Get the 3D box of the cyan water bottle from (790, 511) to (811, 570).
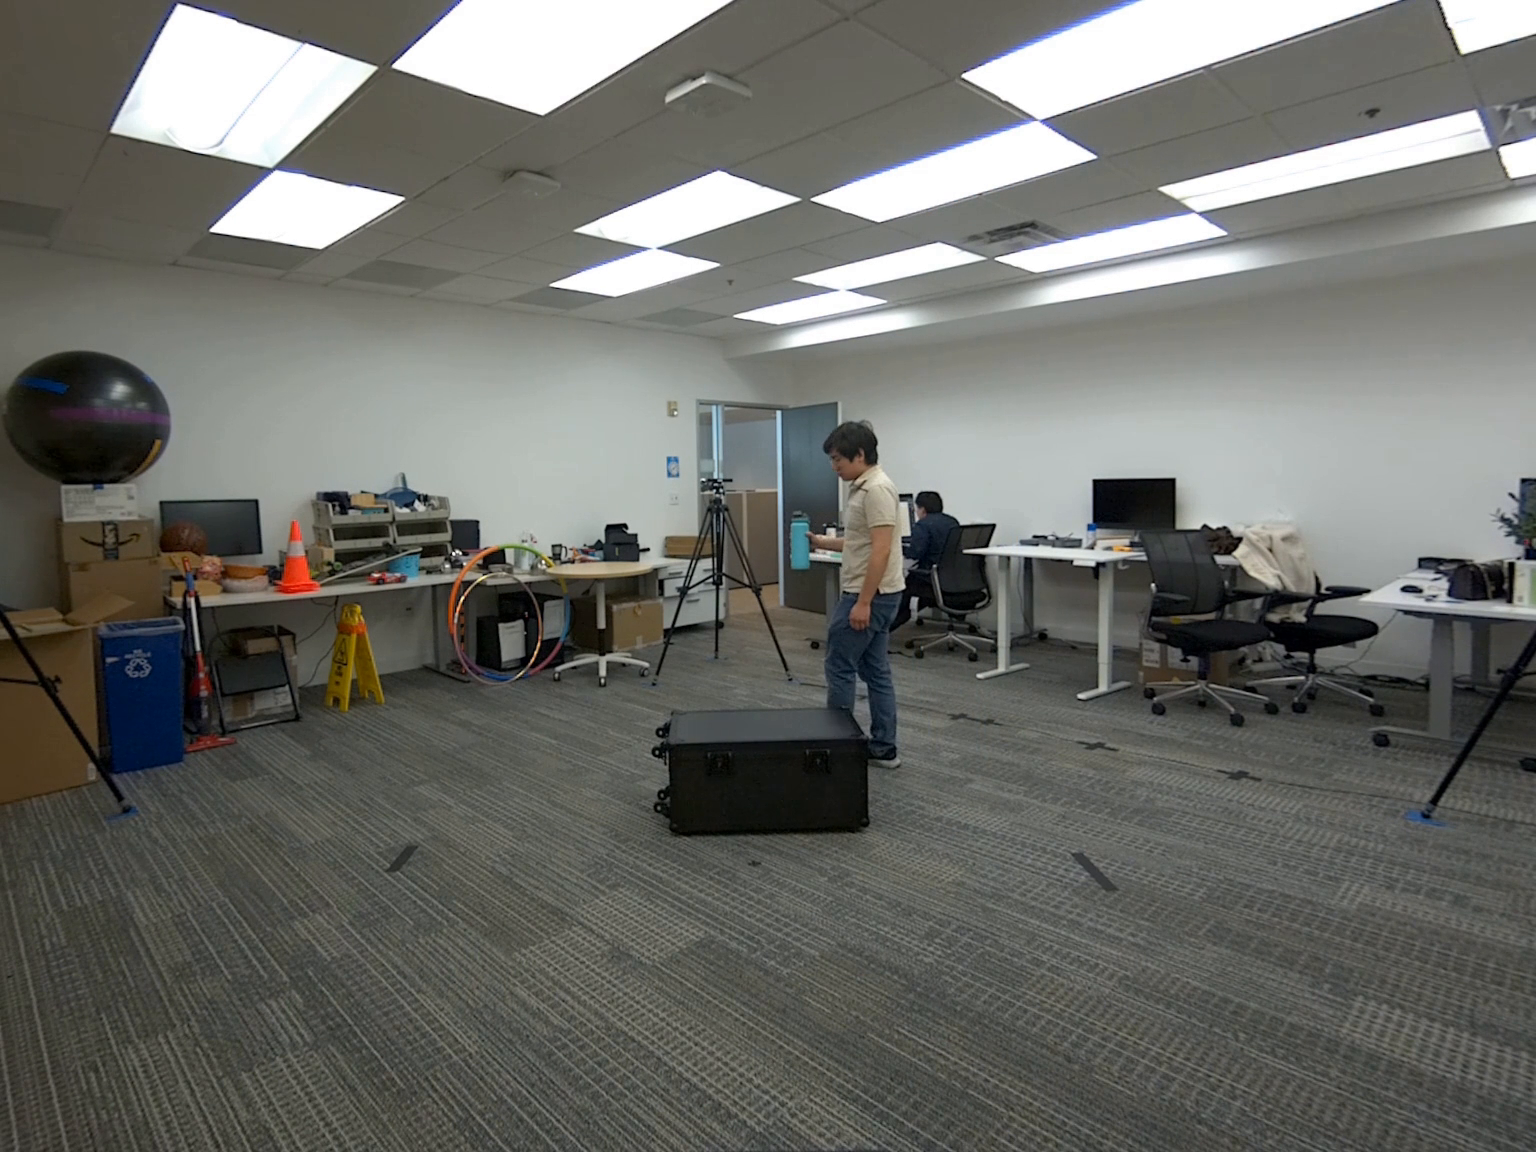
[{"bbox_3d":[0.162,-0.178,4.247,0.092,0.284,0.092,0,-2,-2],"label":"cyan water bottle"}]
